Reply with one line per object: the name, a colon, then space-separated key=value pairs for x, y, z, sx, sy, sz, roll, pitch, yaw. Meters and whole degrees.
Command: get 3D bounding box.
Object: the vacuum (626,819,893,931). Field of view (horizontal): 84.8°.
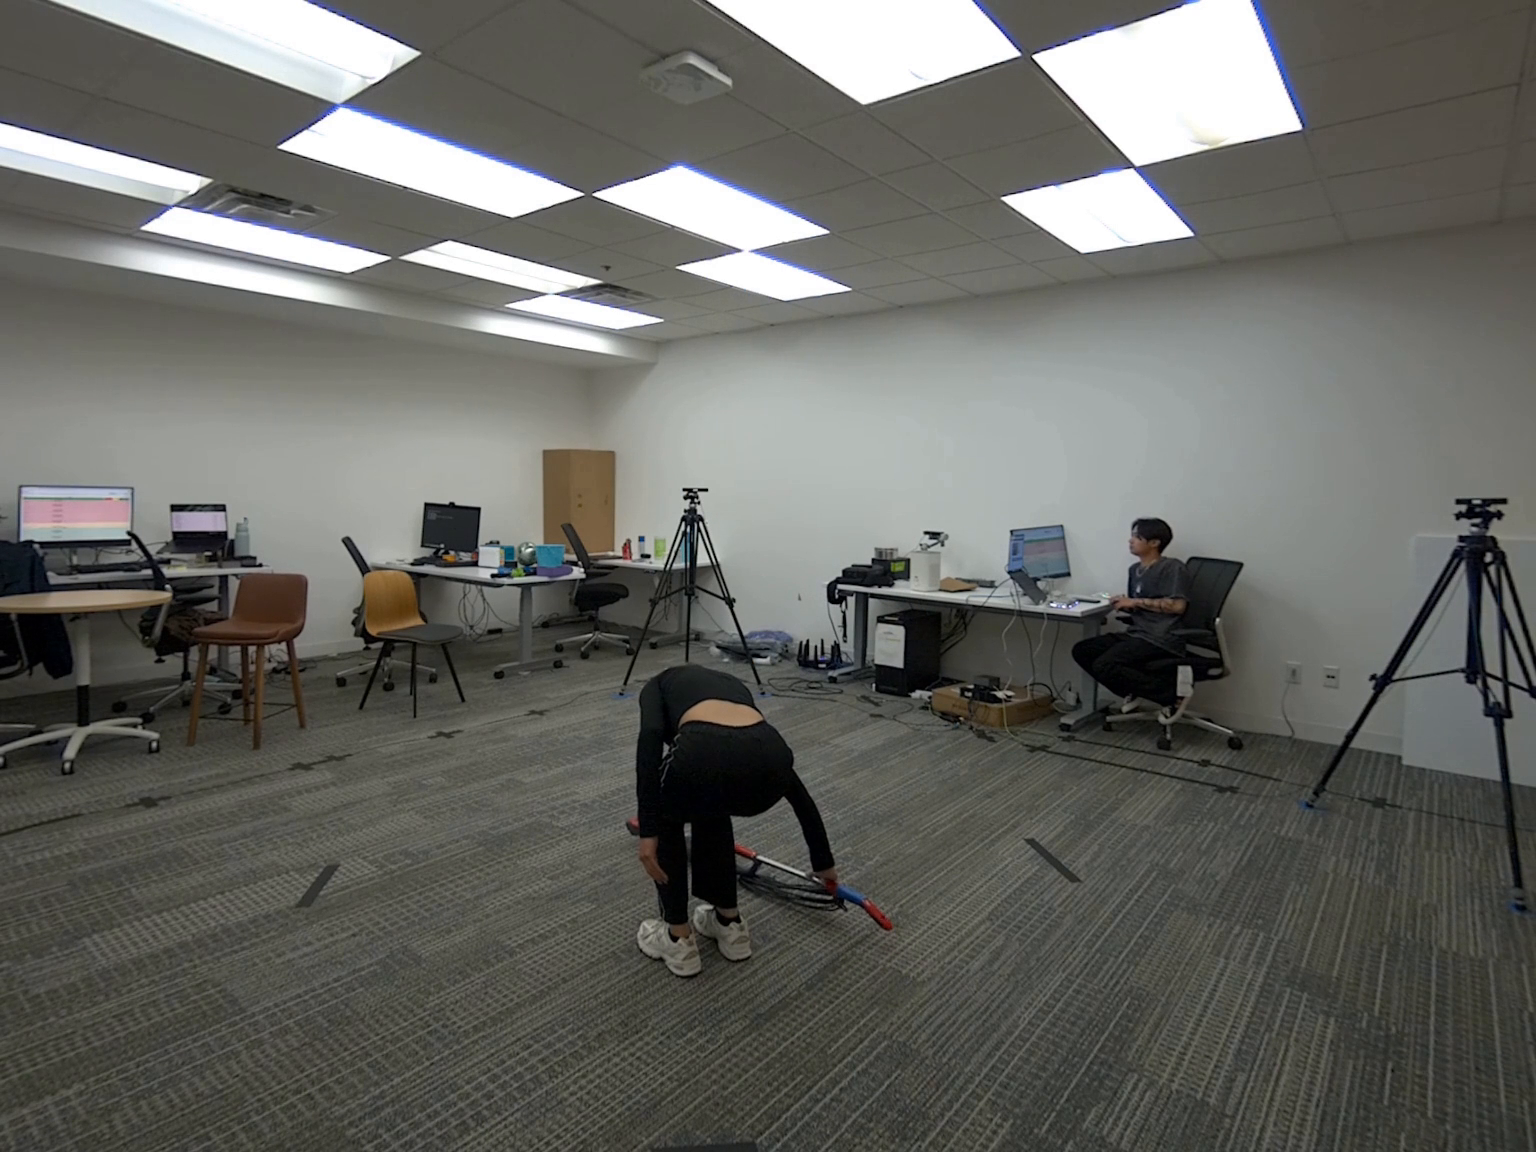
vacuum: x=-0.045 y=1.021 z=2.963 sx=1.086 sy=0.143 sz=0.246 roll=7 pitch=13 yaw=40
